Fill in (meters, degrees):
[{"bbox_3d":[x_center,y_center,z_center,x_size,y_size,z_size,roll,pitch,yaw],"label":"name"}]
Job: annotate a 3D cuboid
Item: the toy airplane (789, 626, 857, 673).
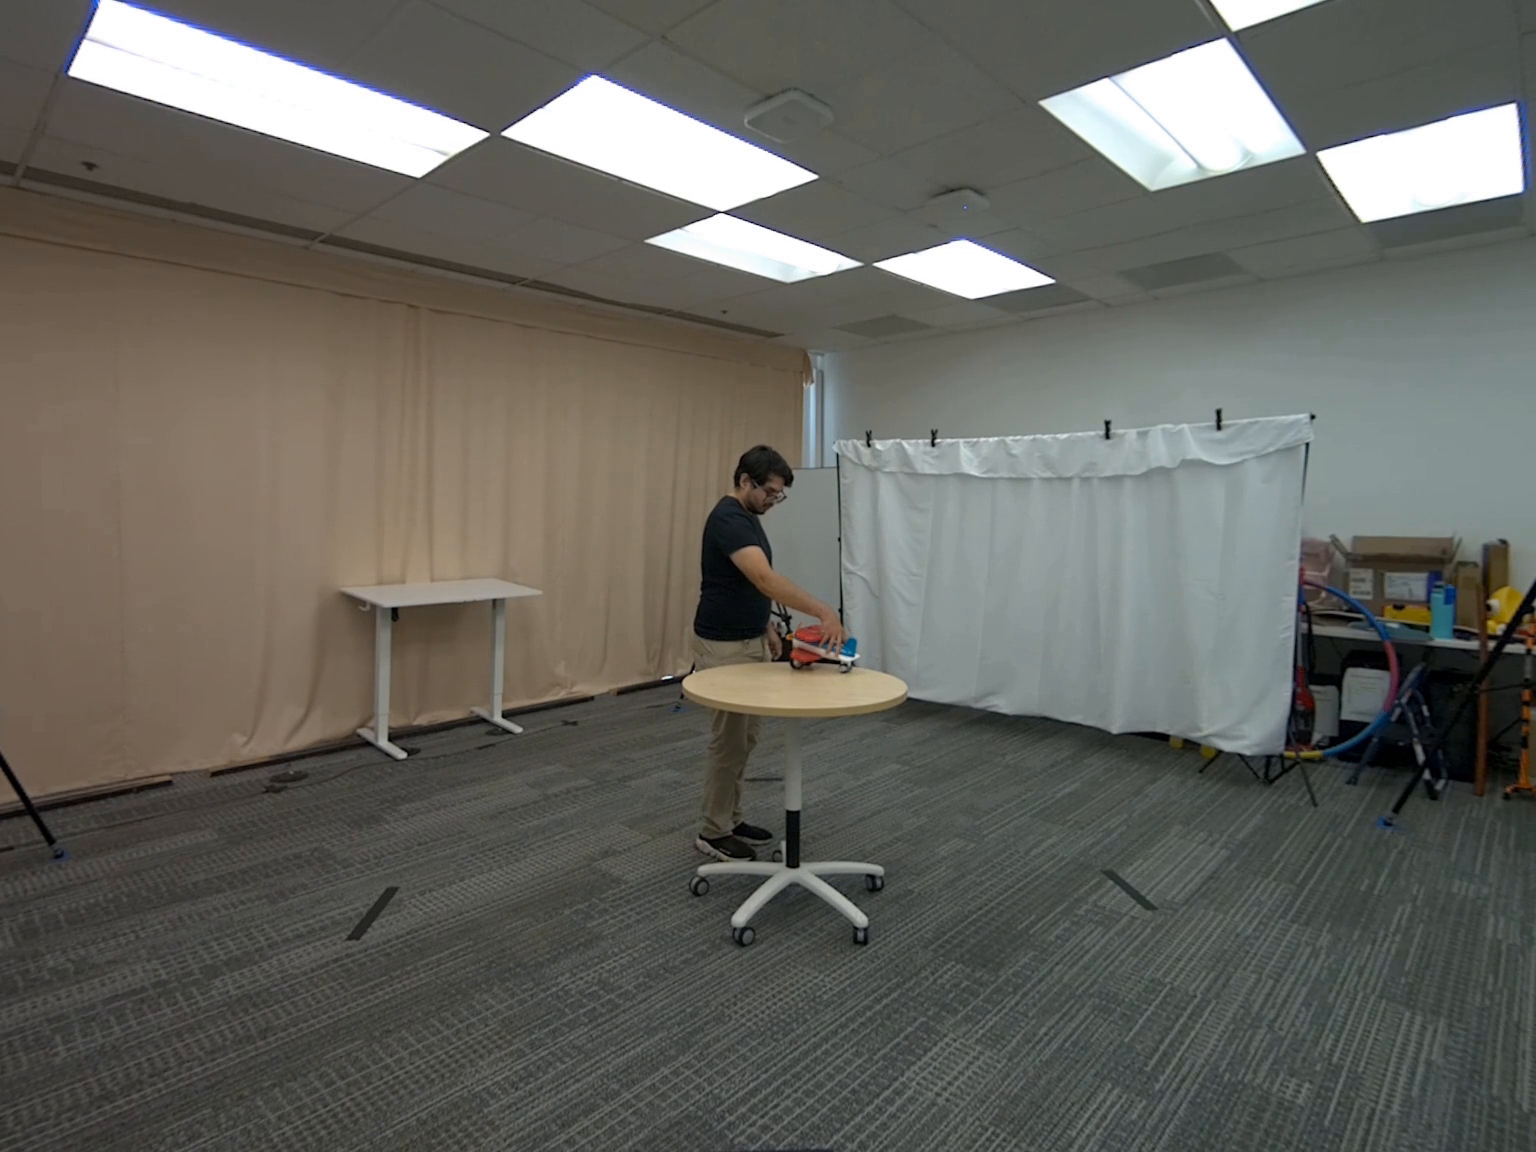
[{"bbox_3d":[0.215,0.270,3.144,0.260,0.156,0.251,-1,4,2],"label":"toy airplane"}]
